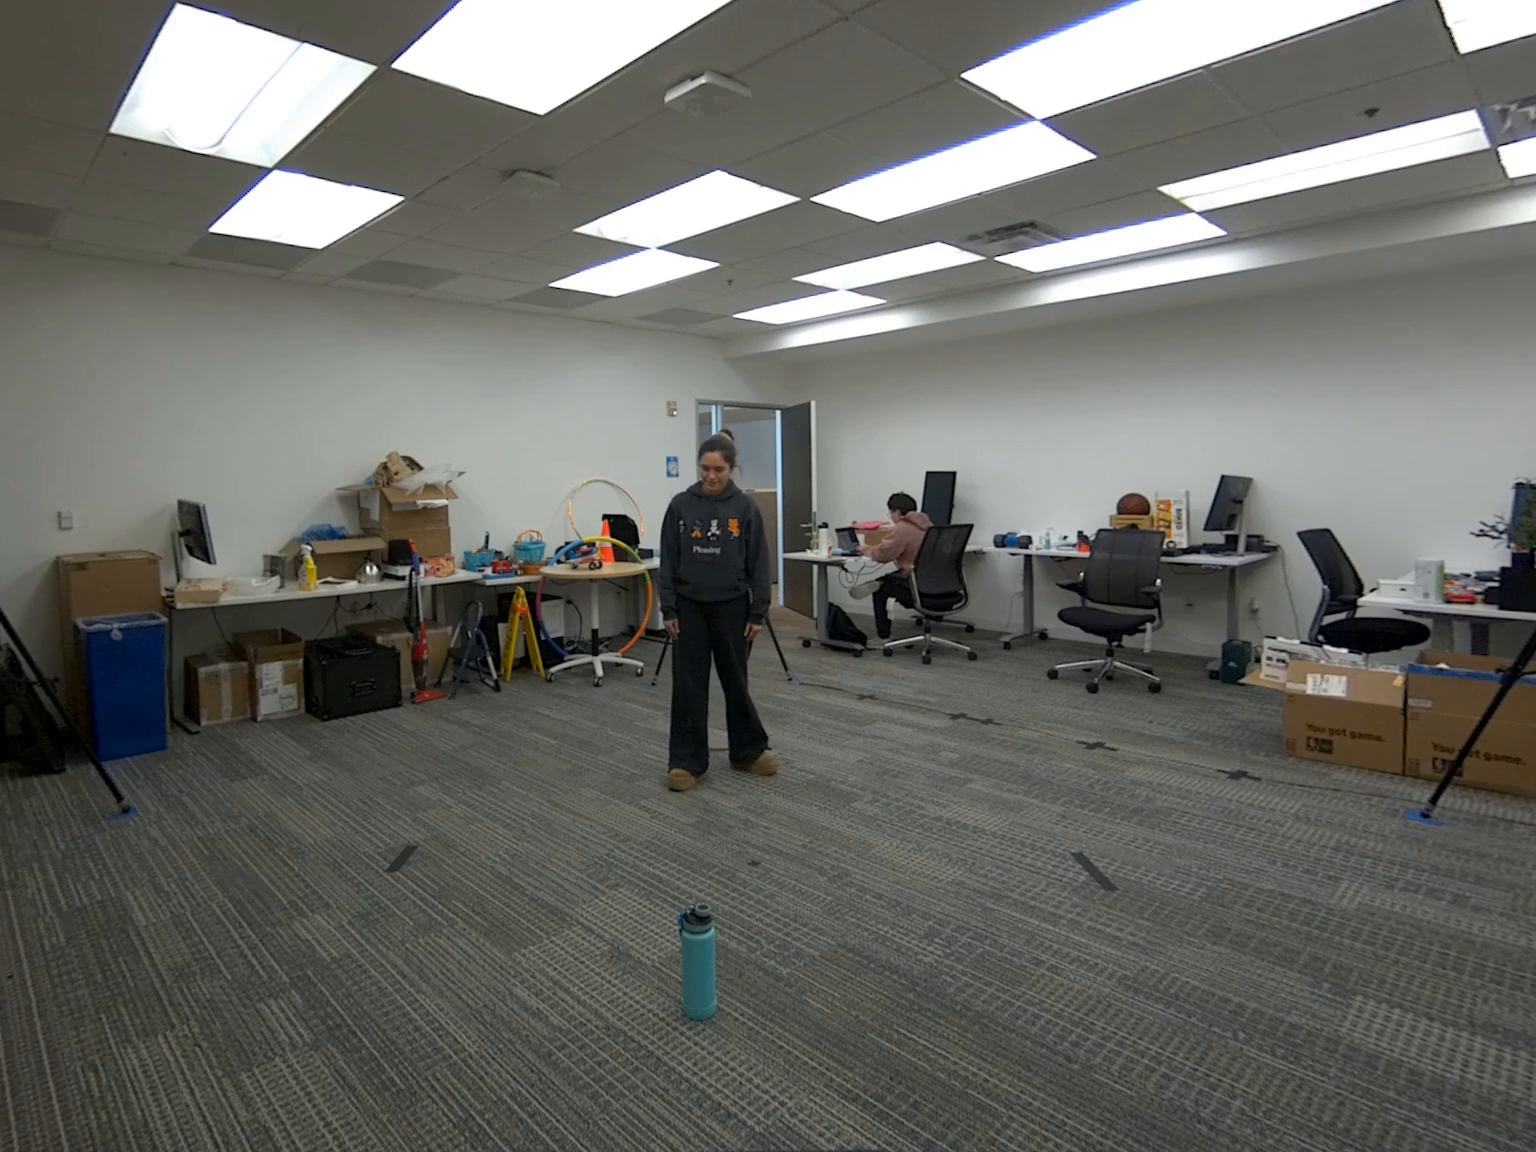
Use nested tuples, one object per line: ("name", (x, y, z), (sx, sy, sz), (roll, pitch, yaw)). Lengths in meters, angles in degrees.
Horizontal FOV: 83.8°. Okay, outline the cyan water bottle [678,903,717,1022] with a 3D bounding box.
("cyan water bottle", (-0.182, 1.012, 2.233), (0.092, 0.282, 0.093), (-3, 3, -1))
